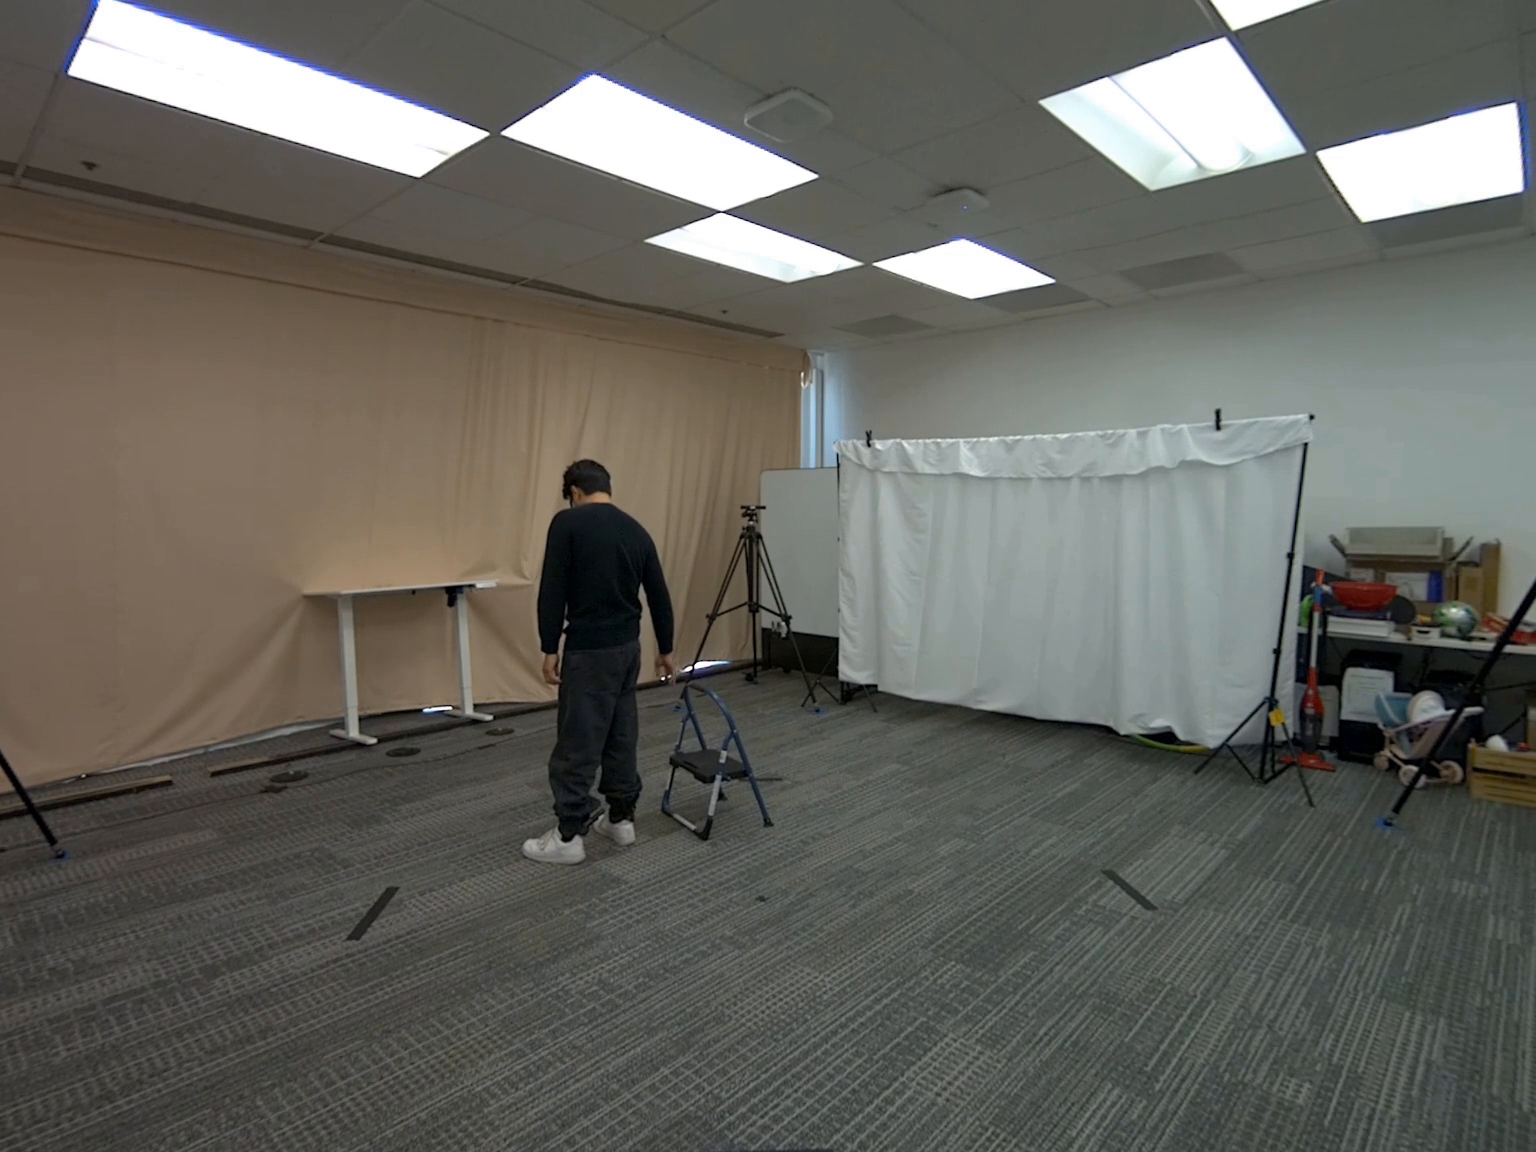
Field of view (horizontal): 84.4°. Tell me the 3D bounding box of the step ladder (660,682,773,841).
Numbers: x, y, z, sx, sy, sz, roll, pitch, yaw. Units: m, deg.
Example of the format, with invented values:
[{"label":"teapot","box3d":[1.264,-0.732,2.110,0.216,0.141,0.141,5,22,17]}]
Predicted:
[{"label":"step ladder","box3d":[-0.241,0.777,3.745,0.339,0.605,0.443,-2,3,-32]}]
